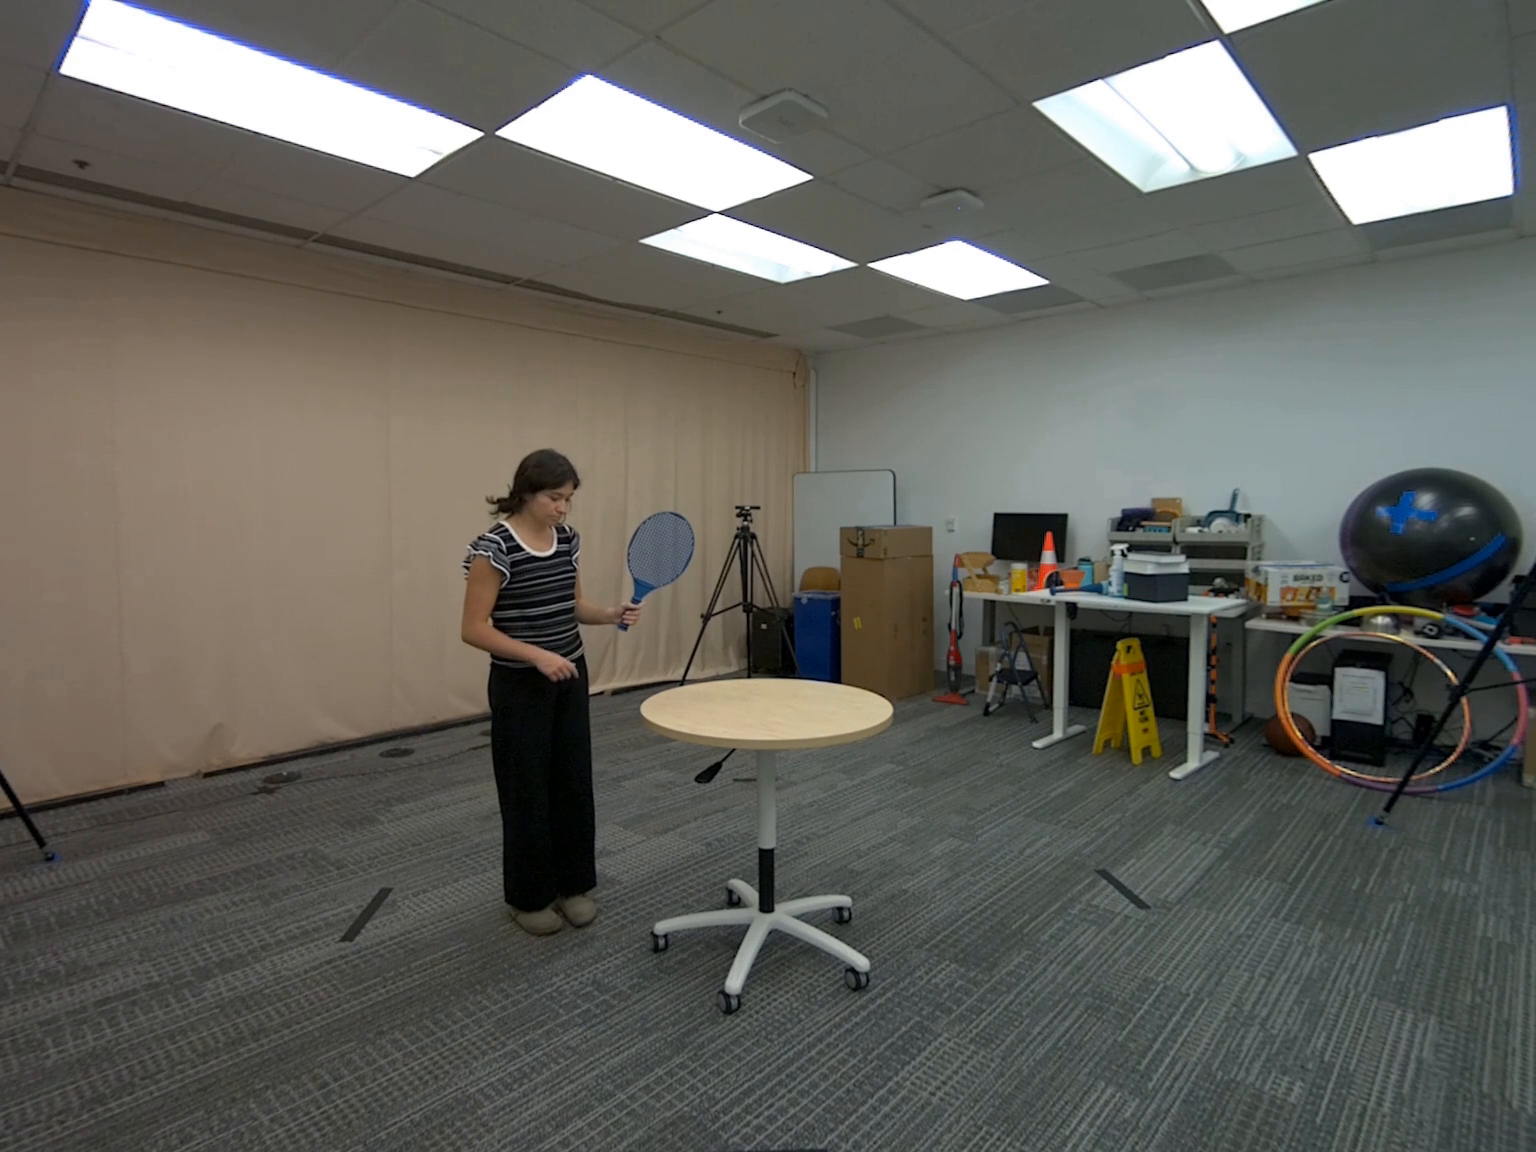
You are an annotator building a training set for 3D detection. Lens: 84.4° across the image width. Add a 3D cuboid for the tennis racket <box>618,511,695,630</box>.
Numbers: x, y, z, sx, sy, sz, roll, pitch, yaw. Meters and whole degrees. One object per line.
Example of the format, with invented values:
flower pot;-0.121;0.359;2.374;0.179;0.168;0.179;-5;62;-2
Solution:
tennis racket;-0.415;-0.019;2.787;0.209;0.433;0.032;26;7;-17
